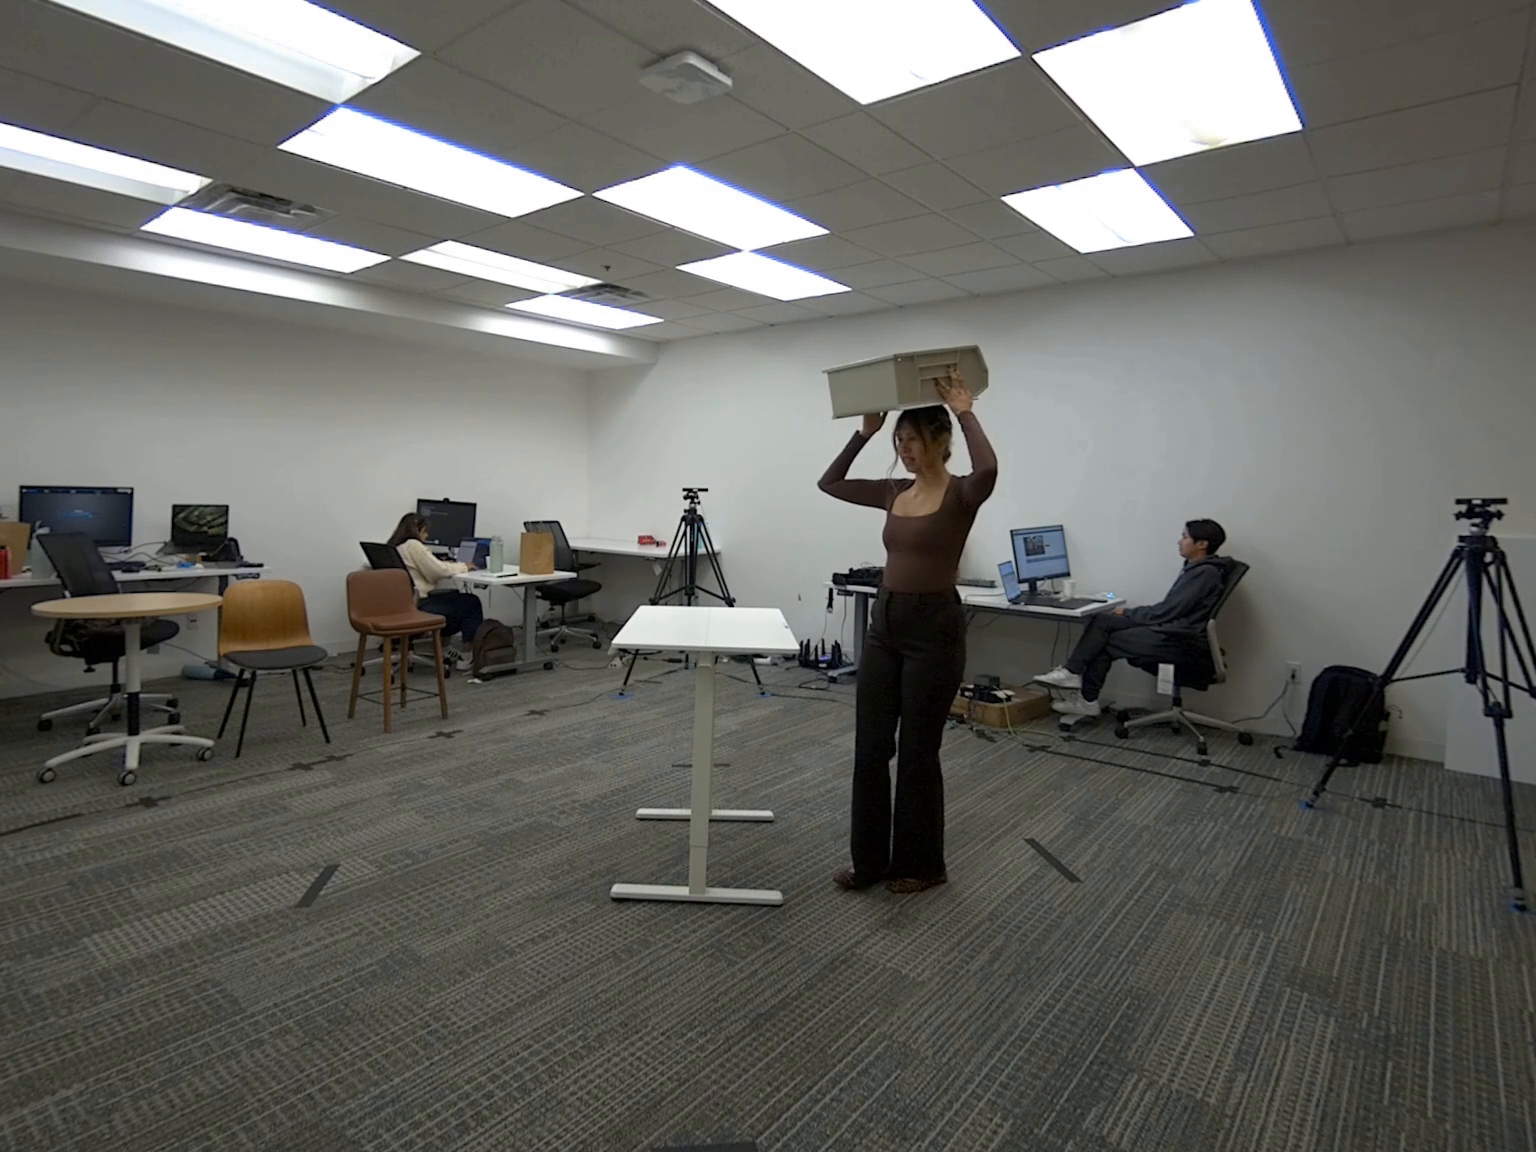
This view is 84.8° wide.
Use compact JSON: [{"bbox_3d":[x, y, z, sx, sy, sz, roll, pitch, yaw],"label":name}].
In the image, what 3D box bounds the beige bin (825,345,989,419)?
[{"bbox_3d":[0.465,-0.665,2.925,0.370,0.187,0.435,-13,11,-25],"label":"beige bin"}]
